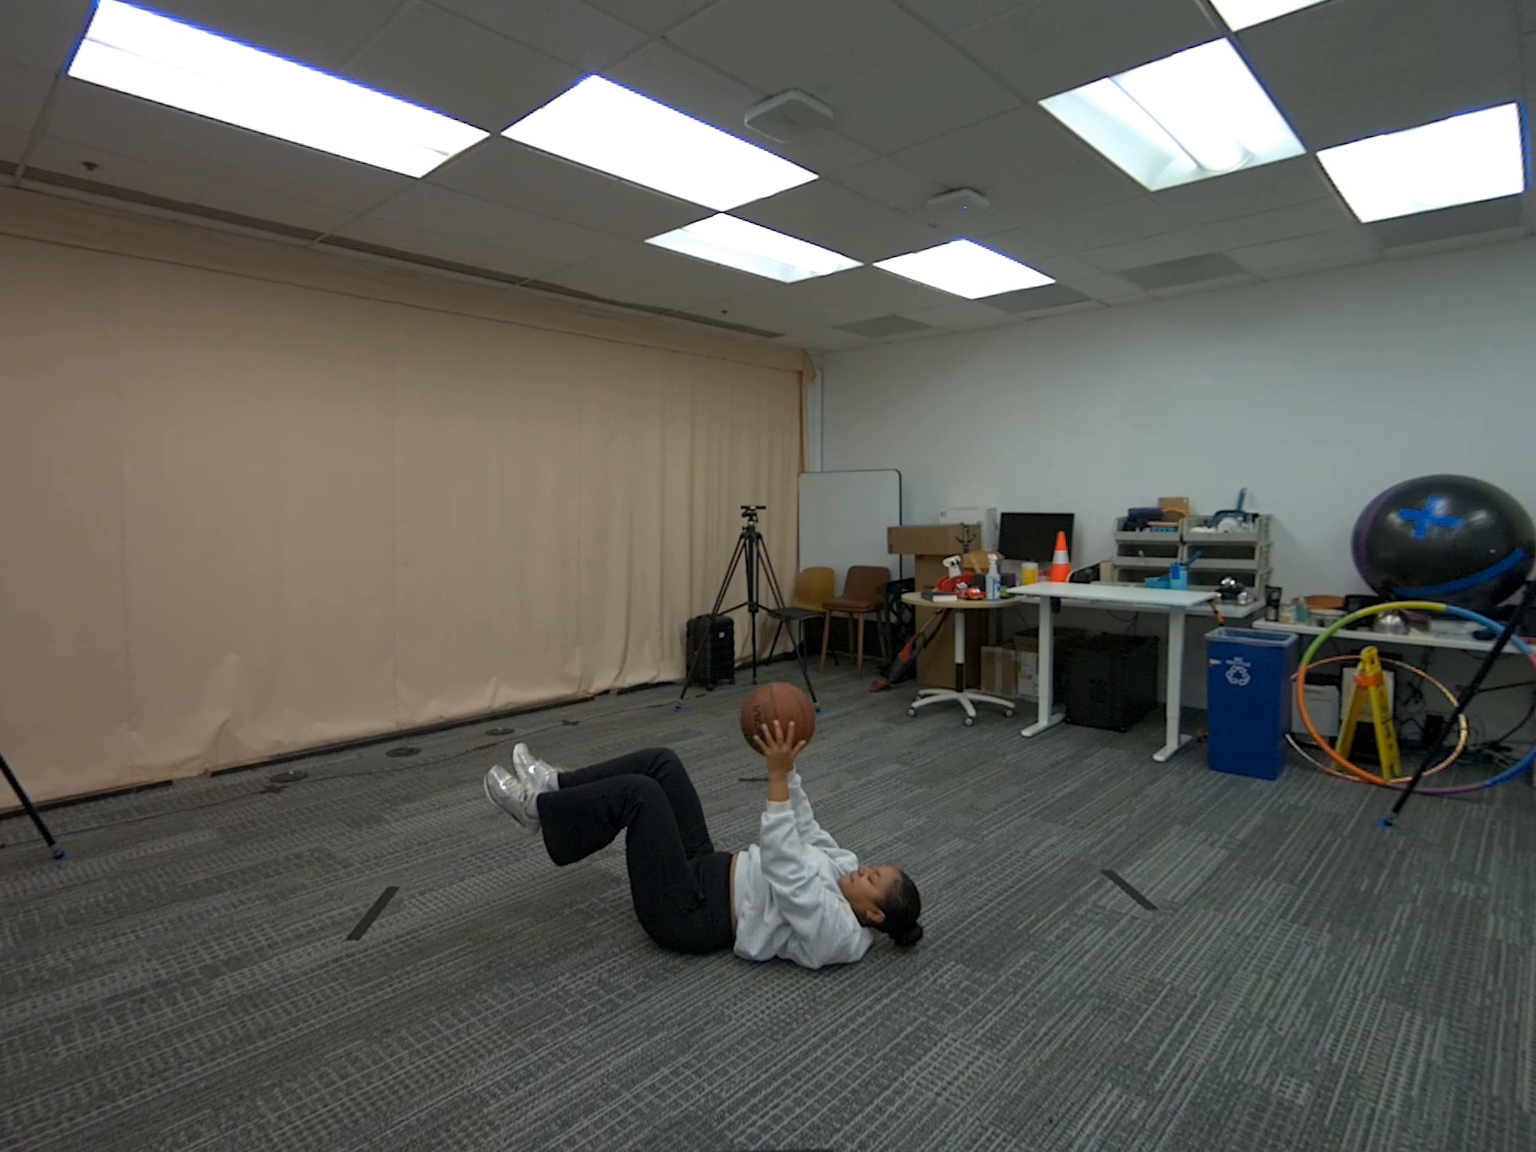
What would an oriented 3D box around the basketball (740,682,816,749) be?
[{"bbox_3d":[0.051,0.468,2.678,0.235,0.235,0.237,1,4,-2],"label":"basketball"}]
